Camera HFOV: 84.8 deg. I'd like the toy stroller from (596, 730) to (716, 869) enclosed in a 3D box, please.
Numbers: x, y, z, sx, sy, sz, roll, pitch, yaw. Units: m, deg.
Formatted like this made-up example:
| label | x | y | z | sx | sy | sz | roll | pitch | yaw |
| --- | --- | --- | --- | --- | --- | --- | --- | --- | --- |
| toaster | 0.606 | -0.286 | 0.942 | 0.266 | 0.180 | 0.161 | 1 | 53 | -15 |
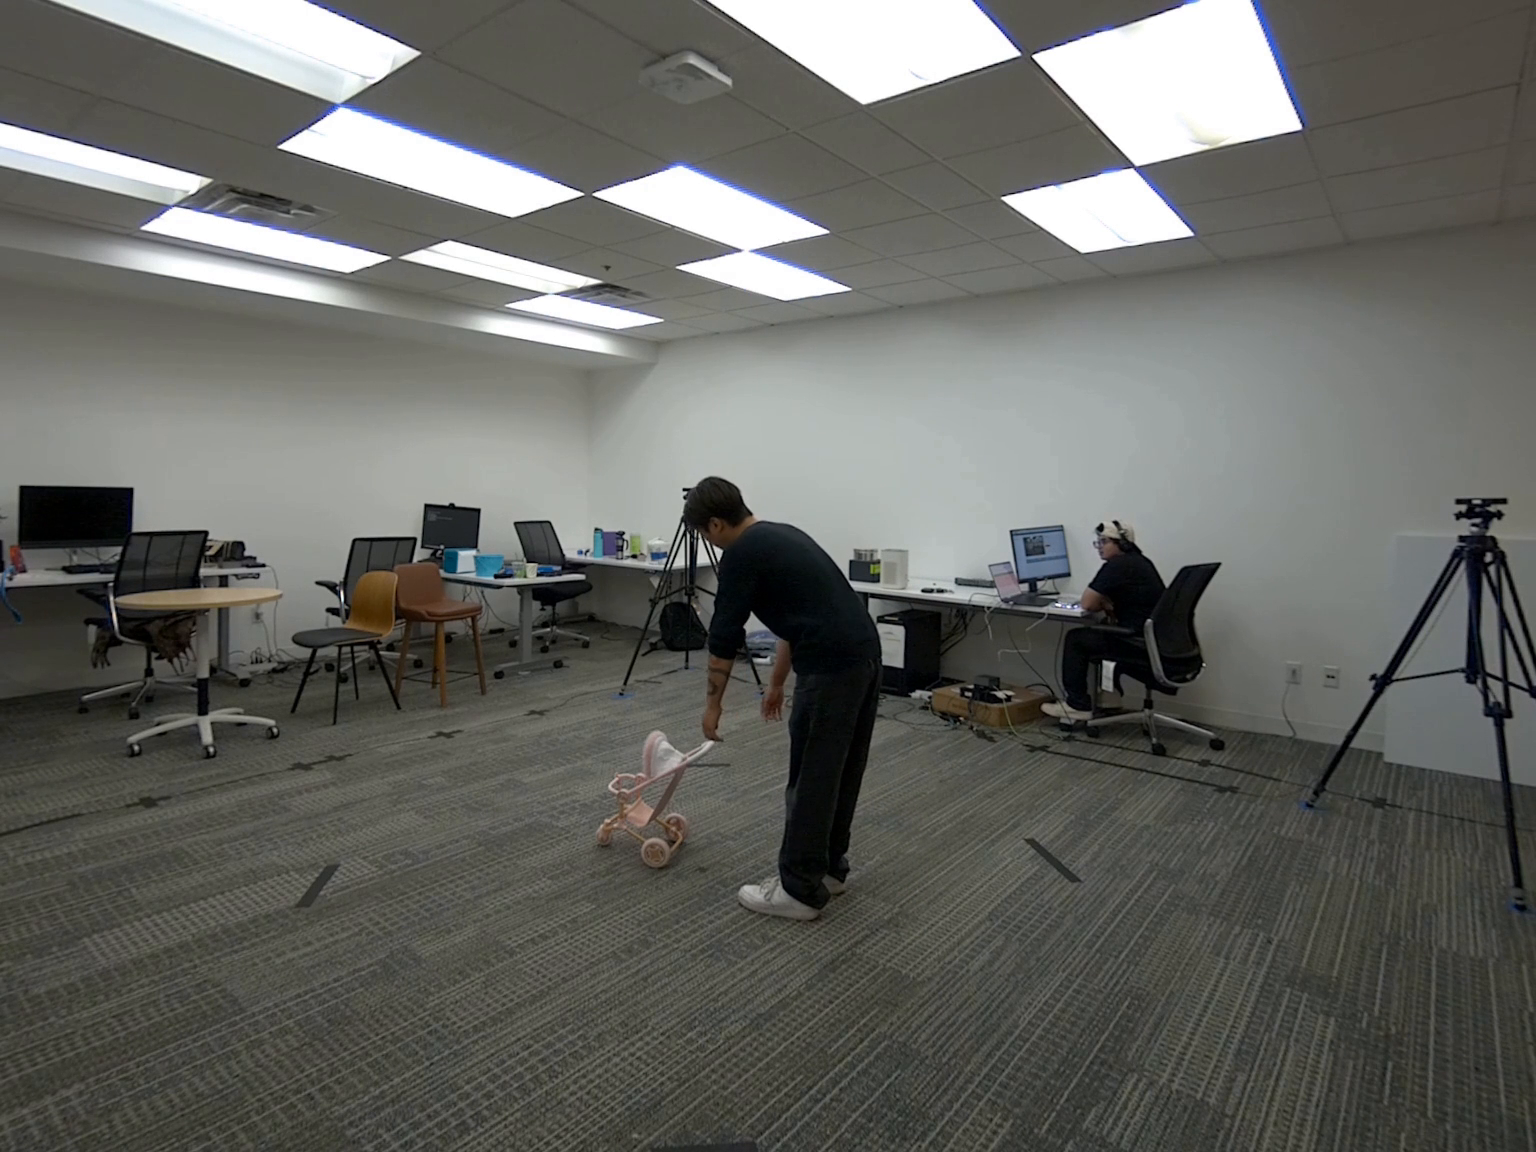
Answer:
| label | x | y | z | sx | sy | sz | roll | pitch | yaw |
| --- | --- | --- | --- | --- | --- | --- | --- | --- | --- |
| toy stroller | -0.456 | 0.829 | 3.247 | 0.349 | 0.532 | 0.276 | 19 | 8 | 16 |
